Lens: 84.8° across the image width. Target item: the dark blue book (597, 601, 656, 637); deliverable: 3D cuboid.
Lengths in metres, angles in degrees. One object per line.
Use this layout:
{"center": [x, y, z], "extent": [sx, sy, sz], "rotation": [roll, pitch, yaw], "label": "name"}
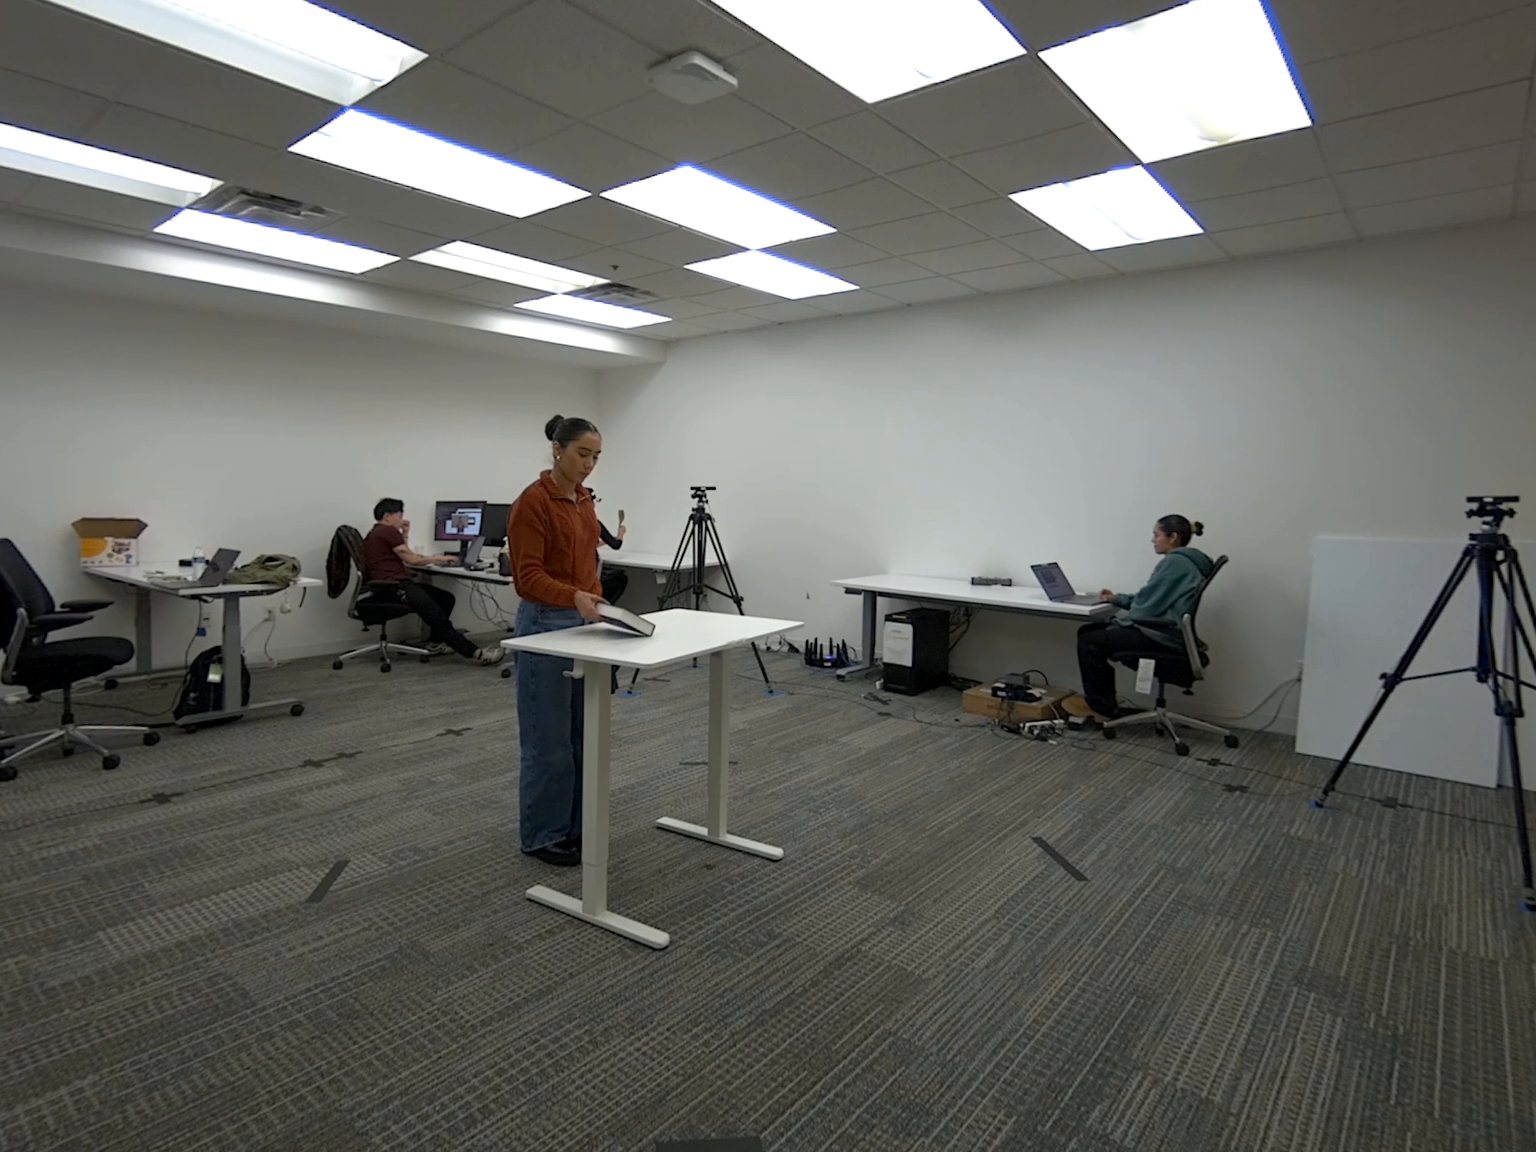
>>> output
{"center": [-0.524, 0.139, 2.922], "extent": [0.157, 0.045, 0.254], "rotation": [30, -15, -40], "label": "dark blue book"}
